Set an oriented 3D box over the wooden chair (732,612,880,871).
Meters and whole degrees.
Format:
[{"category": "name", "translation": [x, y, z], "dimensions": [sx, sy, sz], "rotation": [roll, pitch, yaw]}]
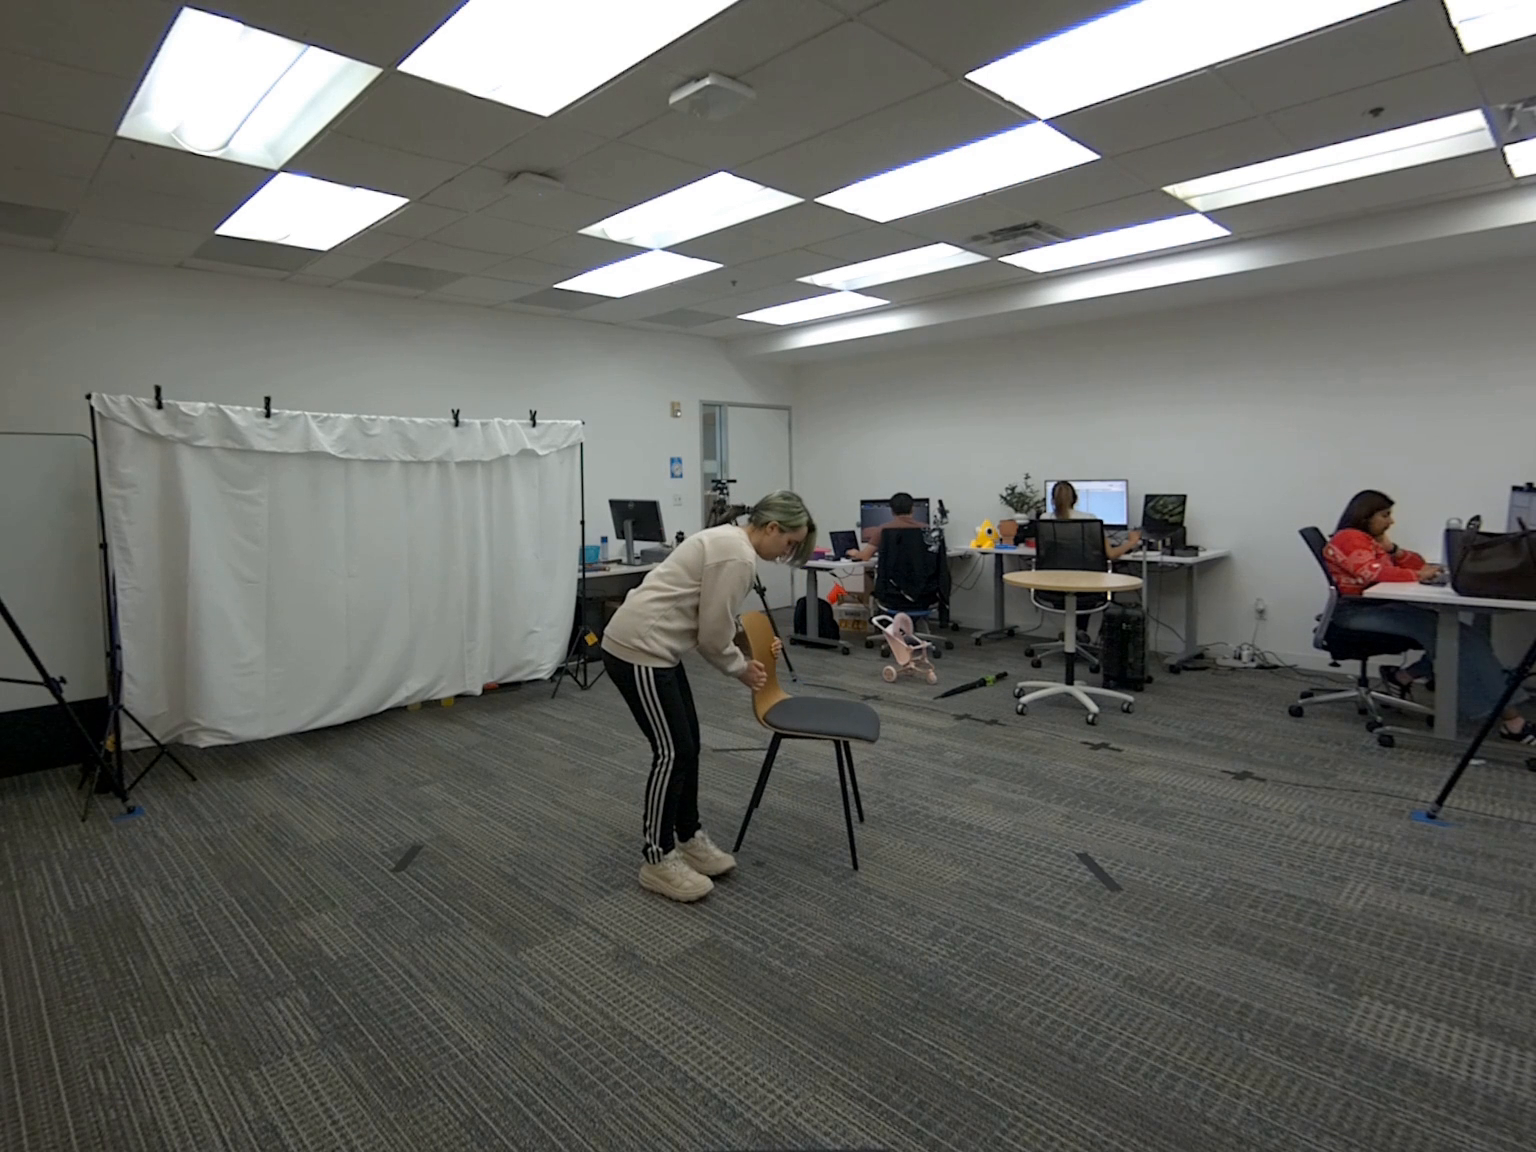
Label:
[{"category": "wooden chair", "translation": [0.165, 0.583, 3.270], "dimensions": [0.530, 0.874, 0.474], "rotation": [0, 4, 12]}]
